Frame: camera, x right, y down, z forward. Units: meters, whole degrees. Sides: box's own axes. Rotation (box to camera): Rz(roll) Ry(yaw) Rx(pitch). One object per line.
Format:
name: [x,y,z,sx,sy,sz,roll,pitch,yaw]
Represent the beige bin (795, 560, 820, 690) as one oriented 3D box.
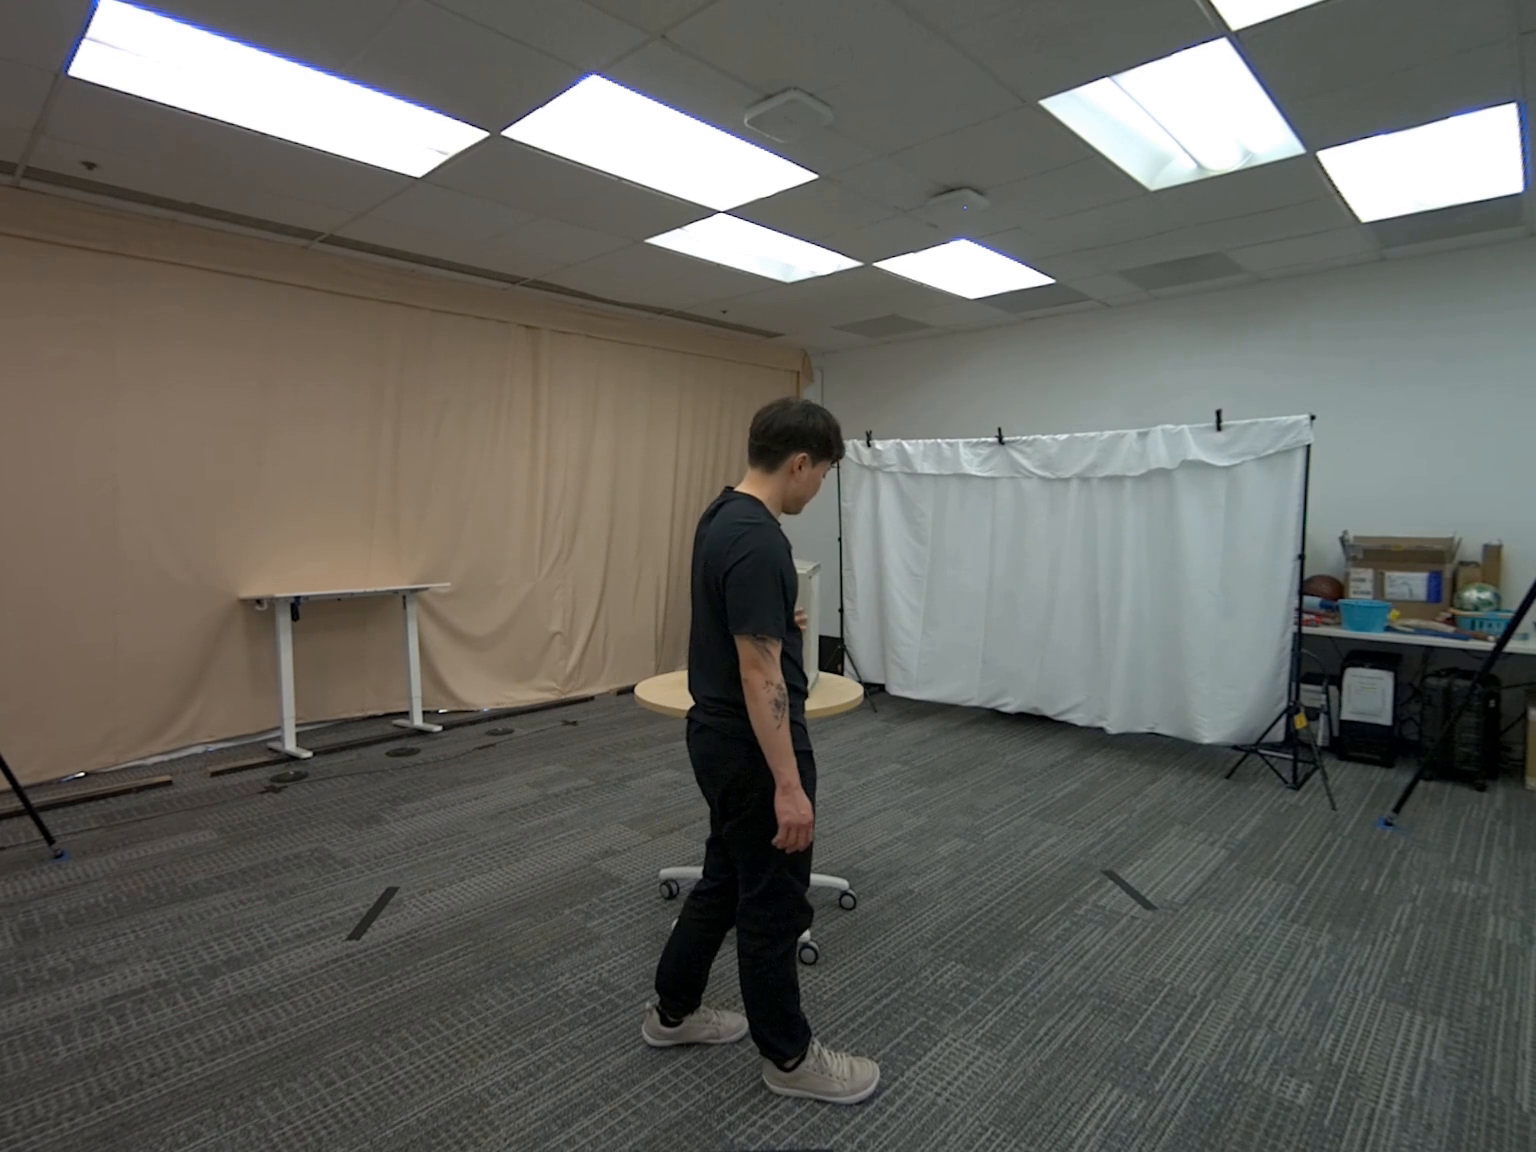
beige bin: [0.075,0.165,2.819,0.191,0.421,0.373,2,3,10]
